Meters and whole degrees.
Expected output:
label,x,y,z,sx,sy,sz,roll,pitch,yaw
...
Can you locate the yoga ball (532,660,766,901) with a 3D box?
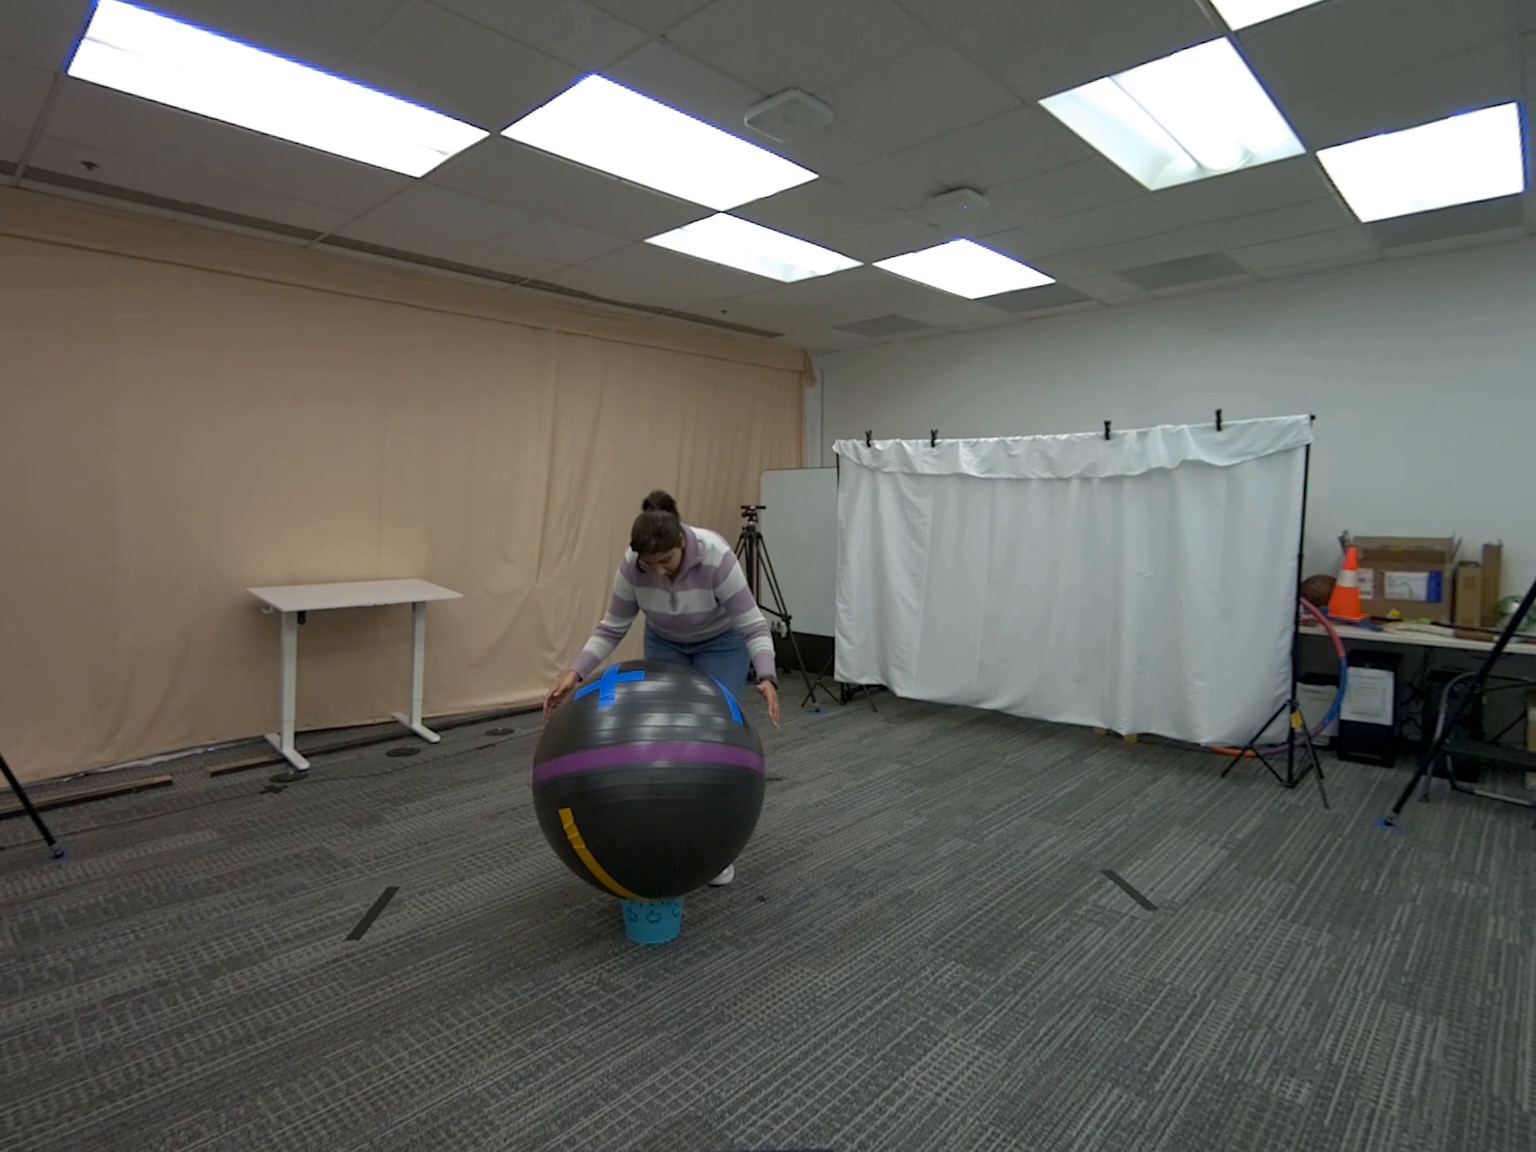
label,x,y,z,sx,sy,sz,roll,pitch,yaw
yoga ball,-0.397,0.660,2.753,0.757,0.756,0.760,0,4,-2
